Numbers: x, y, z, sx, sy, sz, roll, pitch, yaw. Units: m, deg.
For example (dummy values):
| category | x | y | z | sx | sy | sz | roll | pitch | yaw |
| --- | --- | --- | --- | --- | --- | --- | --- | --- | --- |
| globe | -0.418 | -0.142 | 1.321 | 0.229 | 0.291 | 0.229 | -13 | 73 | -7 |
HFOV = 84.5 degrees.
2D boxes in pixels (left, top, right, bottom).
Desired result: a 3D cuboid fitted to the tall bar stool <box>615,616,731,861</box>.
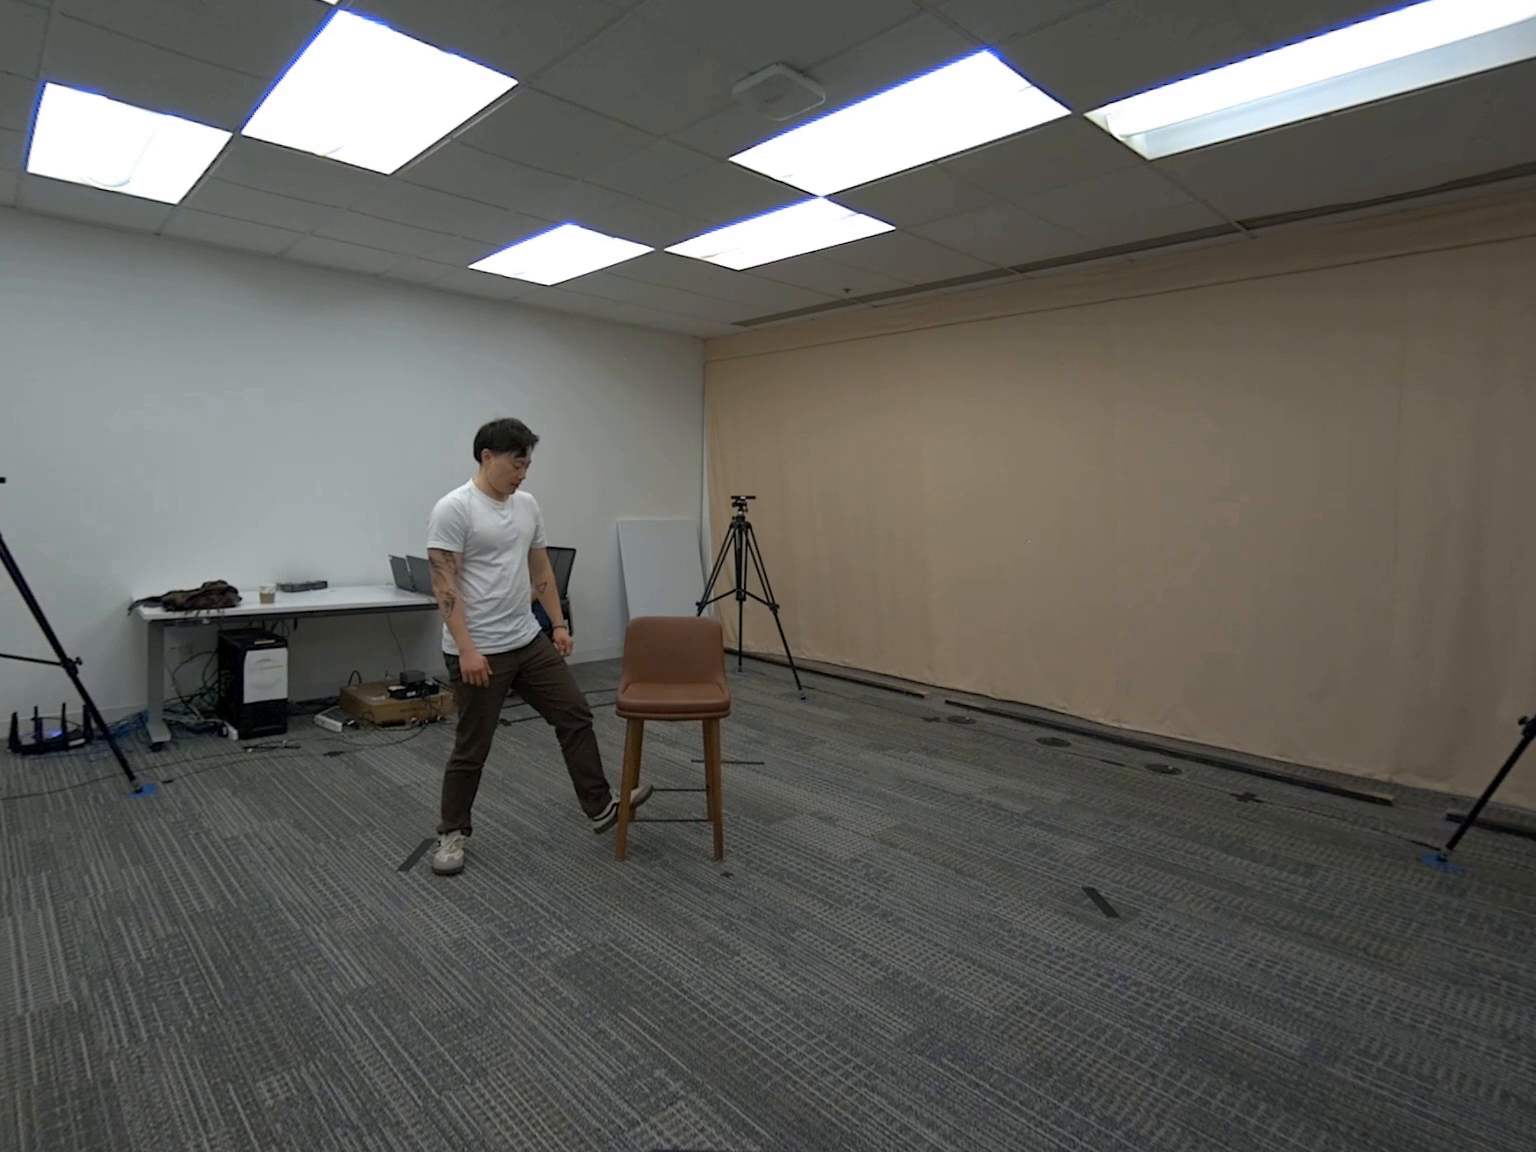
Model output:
| category | x | y | z | sx | sy | sz | roll | pitch | yaw |
| --- | --- | --- | --- | --- | --- | --- | --- | --- | --- |
| tall bar stool | -0.393 | 0.633 | 3.414 | 0.455 | 0.889 | 0.469 | 1 | 2 | -4 |
